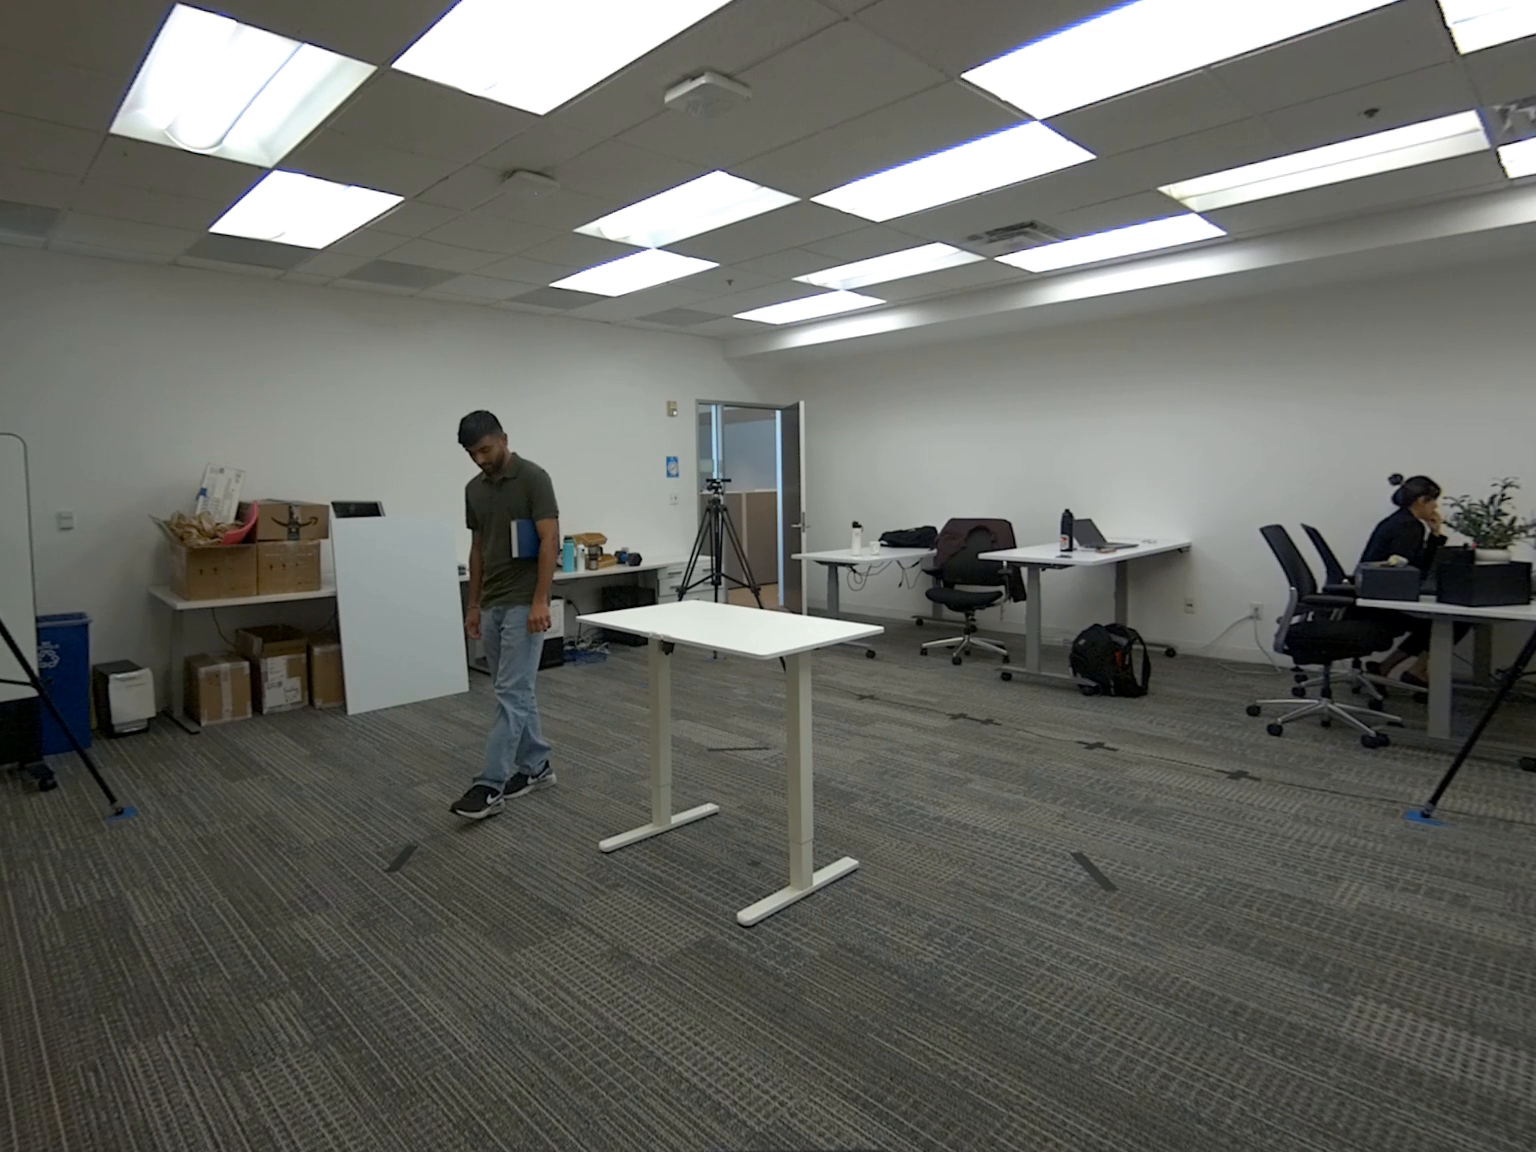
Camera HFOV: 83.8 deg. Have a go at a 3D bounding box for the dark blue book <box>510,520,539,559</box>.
[{"bbox_3d":[-1.025,-0.158,3.691,0.046,0.163,0.239,-2,1,29],"label":"dark blue book"}]
